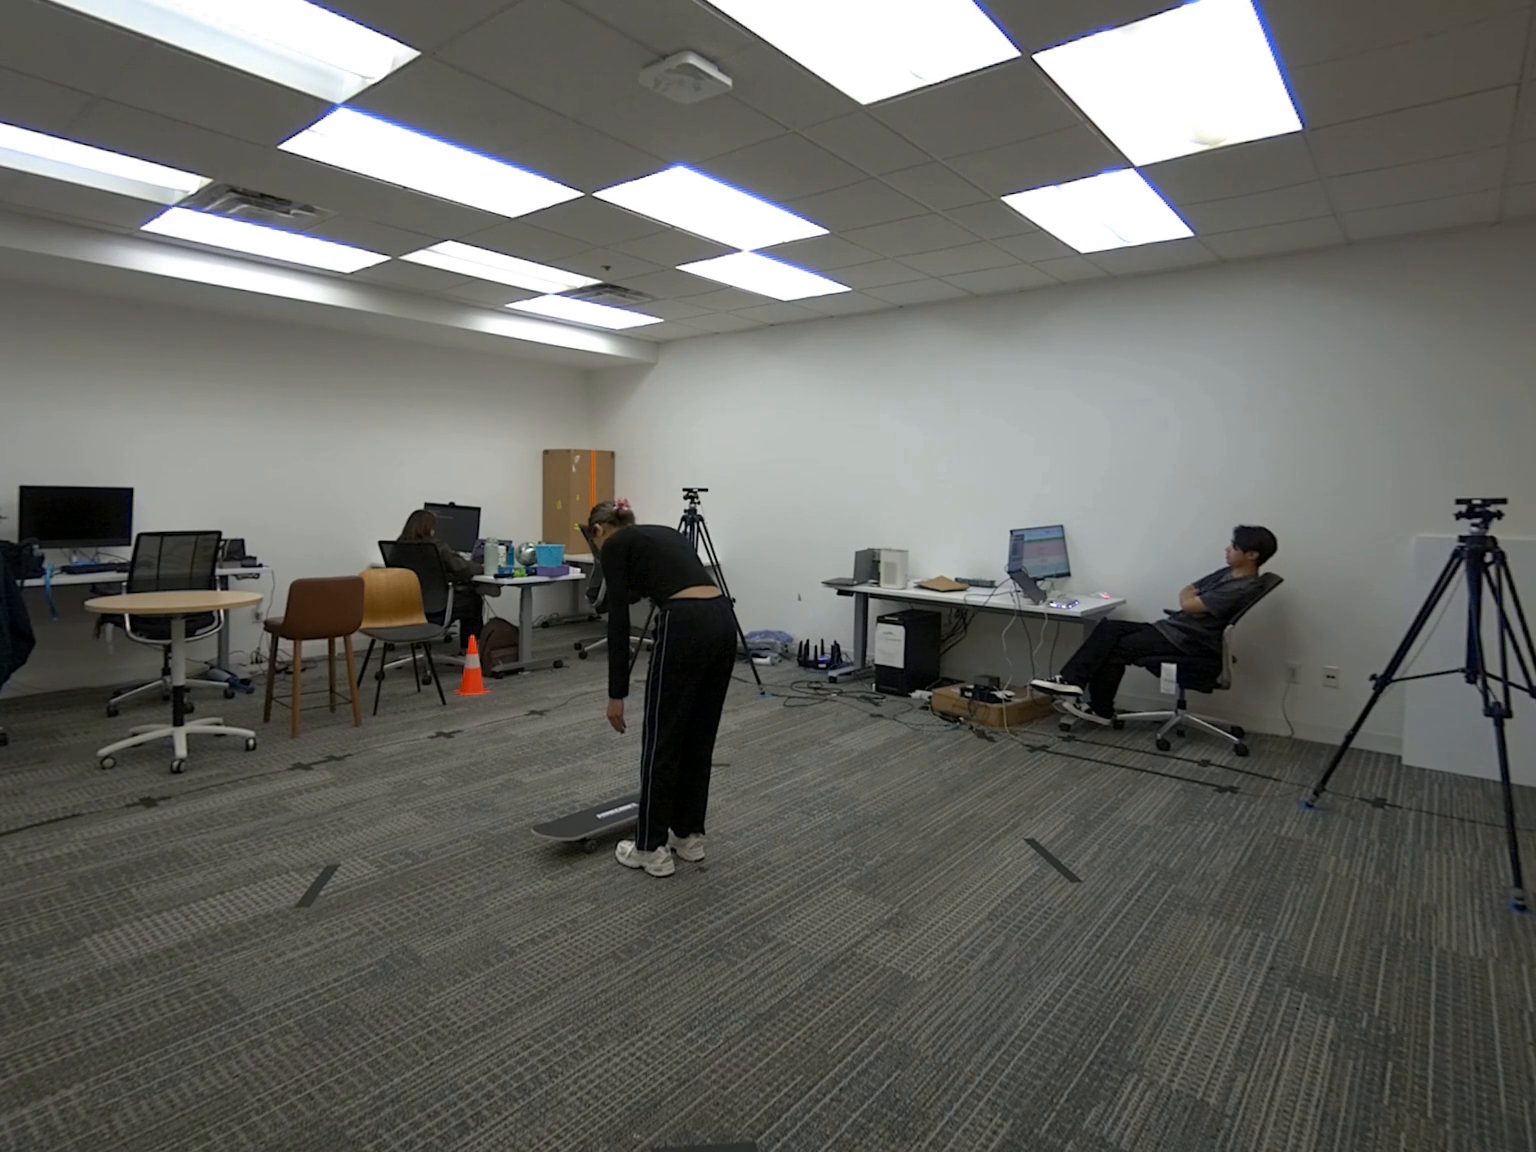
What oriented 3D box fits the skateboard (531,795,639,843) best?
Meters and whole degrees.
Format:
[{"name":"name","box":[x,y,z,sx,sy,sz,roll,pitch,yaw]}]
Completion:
[{"name":"skateboard","box":[-0.621,0.980,3.441,0.200,0.110,0.762,4,6,42]}]
